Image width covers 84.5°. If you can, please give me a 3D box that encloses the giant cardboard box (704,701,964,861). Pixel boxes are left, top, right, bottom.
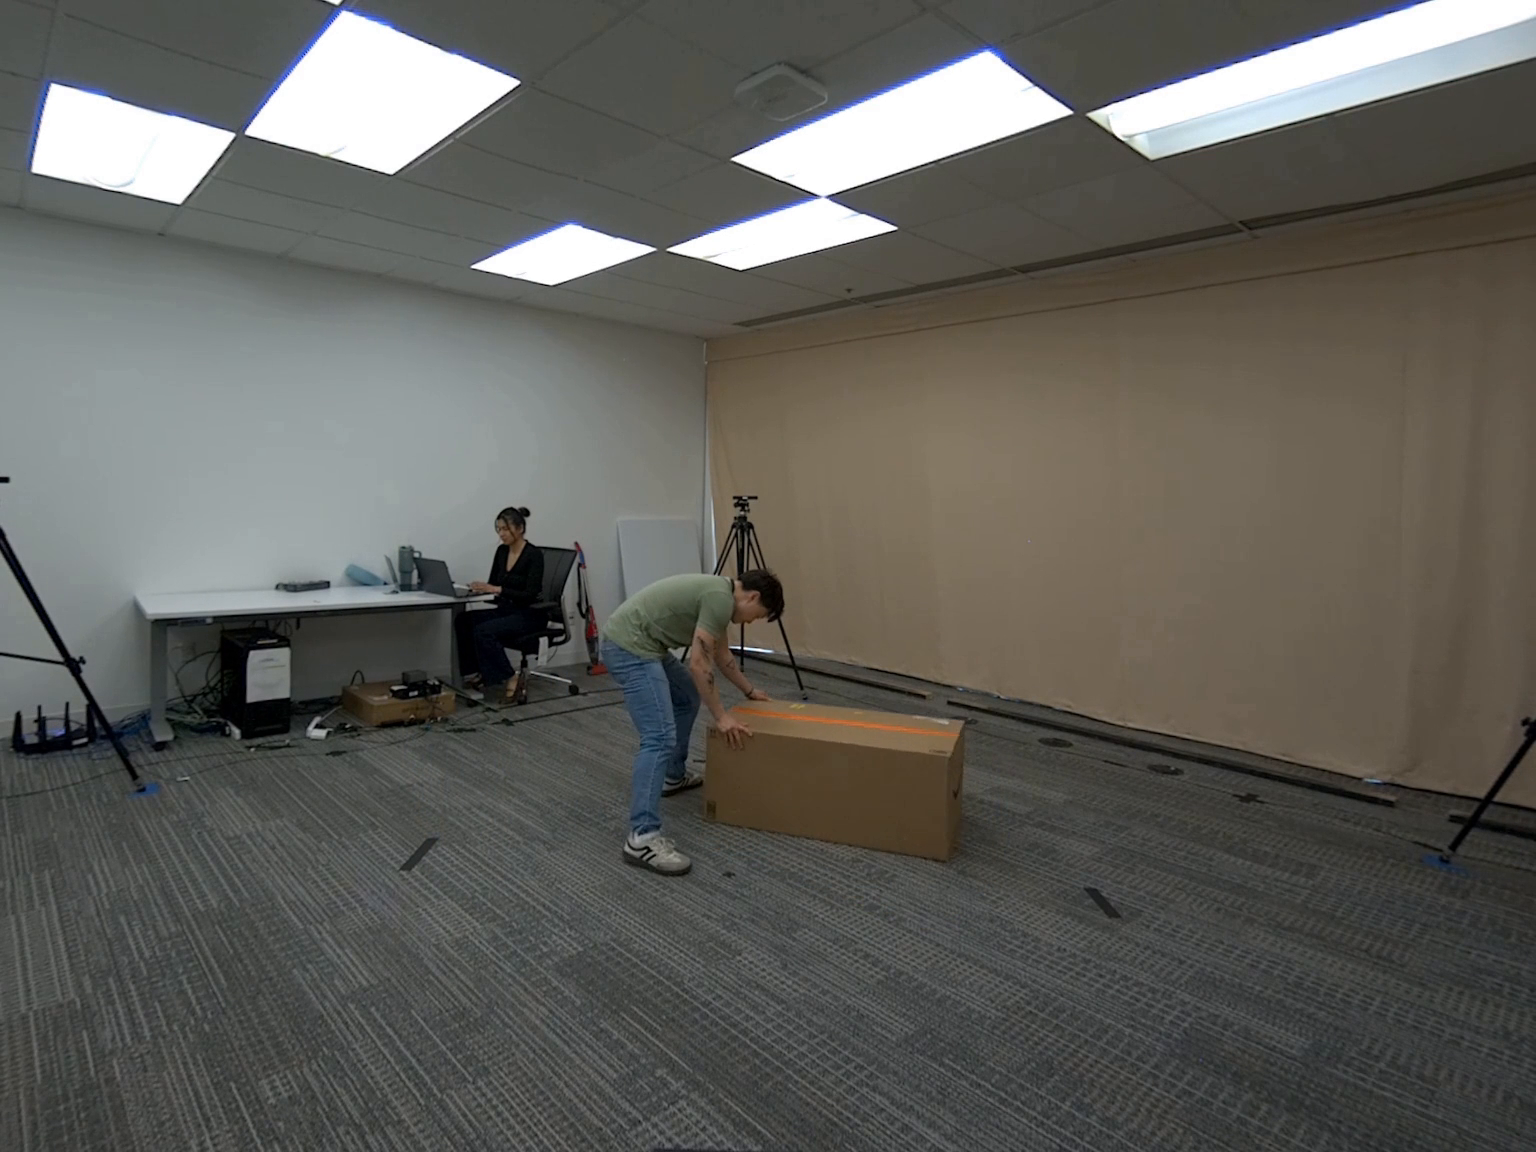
[{"bbox_3d":[0.300,0.849,3.682,1.042,0.425,0.569,3,3,20],"label":"giant cardboard box"}]
